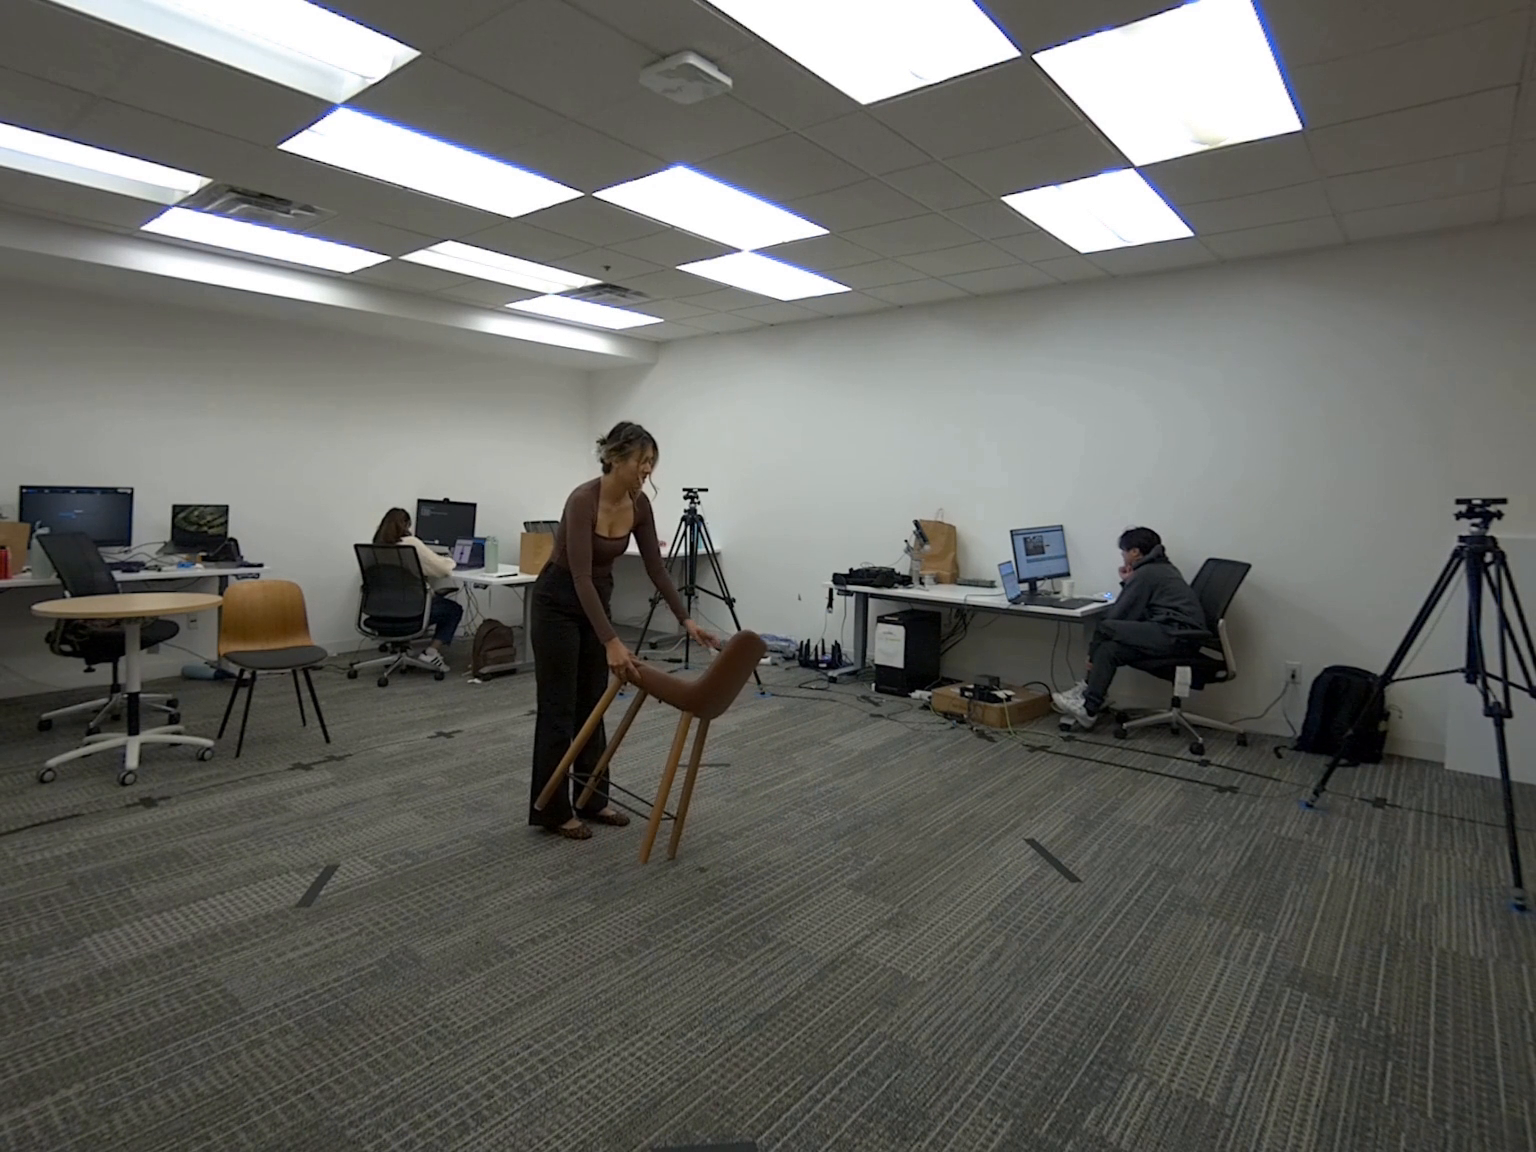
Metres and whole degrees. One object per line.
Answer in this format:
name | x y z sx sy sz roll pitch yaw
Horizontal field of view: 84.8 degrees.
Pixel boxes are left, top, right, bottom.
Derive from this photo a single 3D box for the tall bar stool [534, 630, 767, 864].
tall bar stool | -0.423 0.551 3.178 0.479 0.893 0.444 22 -11 17
